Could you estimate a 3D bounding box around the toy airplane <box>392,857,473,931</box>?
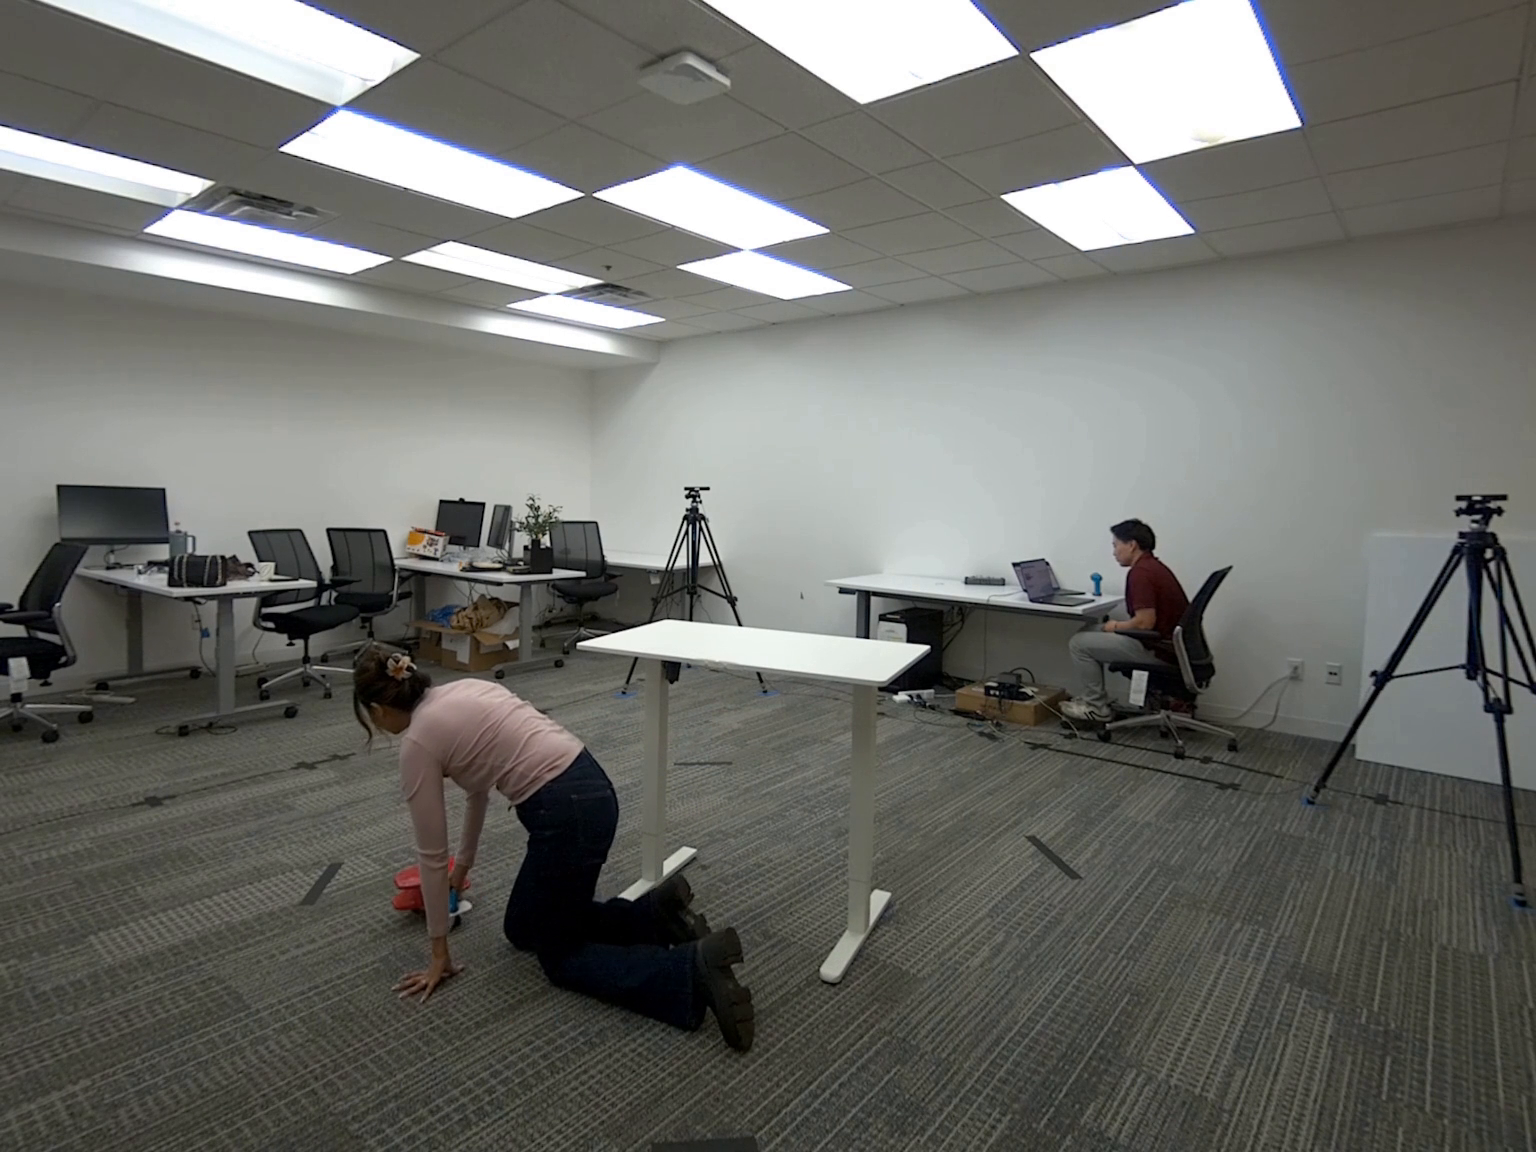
[{"bbox_3d":[-1.058,1.015,2.758,0.264,0.156,0.247,1,6,17],"label":"toy airplane"}]
